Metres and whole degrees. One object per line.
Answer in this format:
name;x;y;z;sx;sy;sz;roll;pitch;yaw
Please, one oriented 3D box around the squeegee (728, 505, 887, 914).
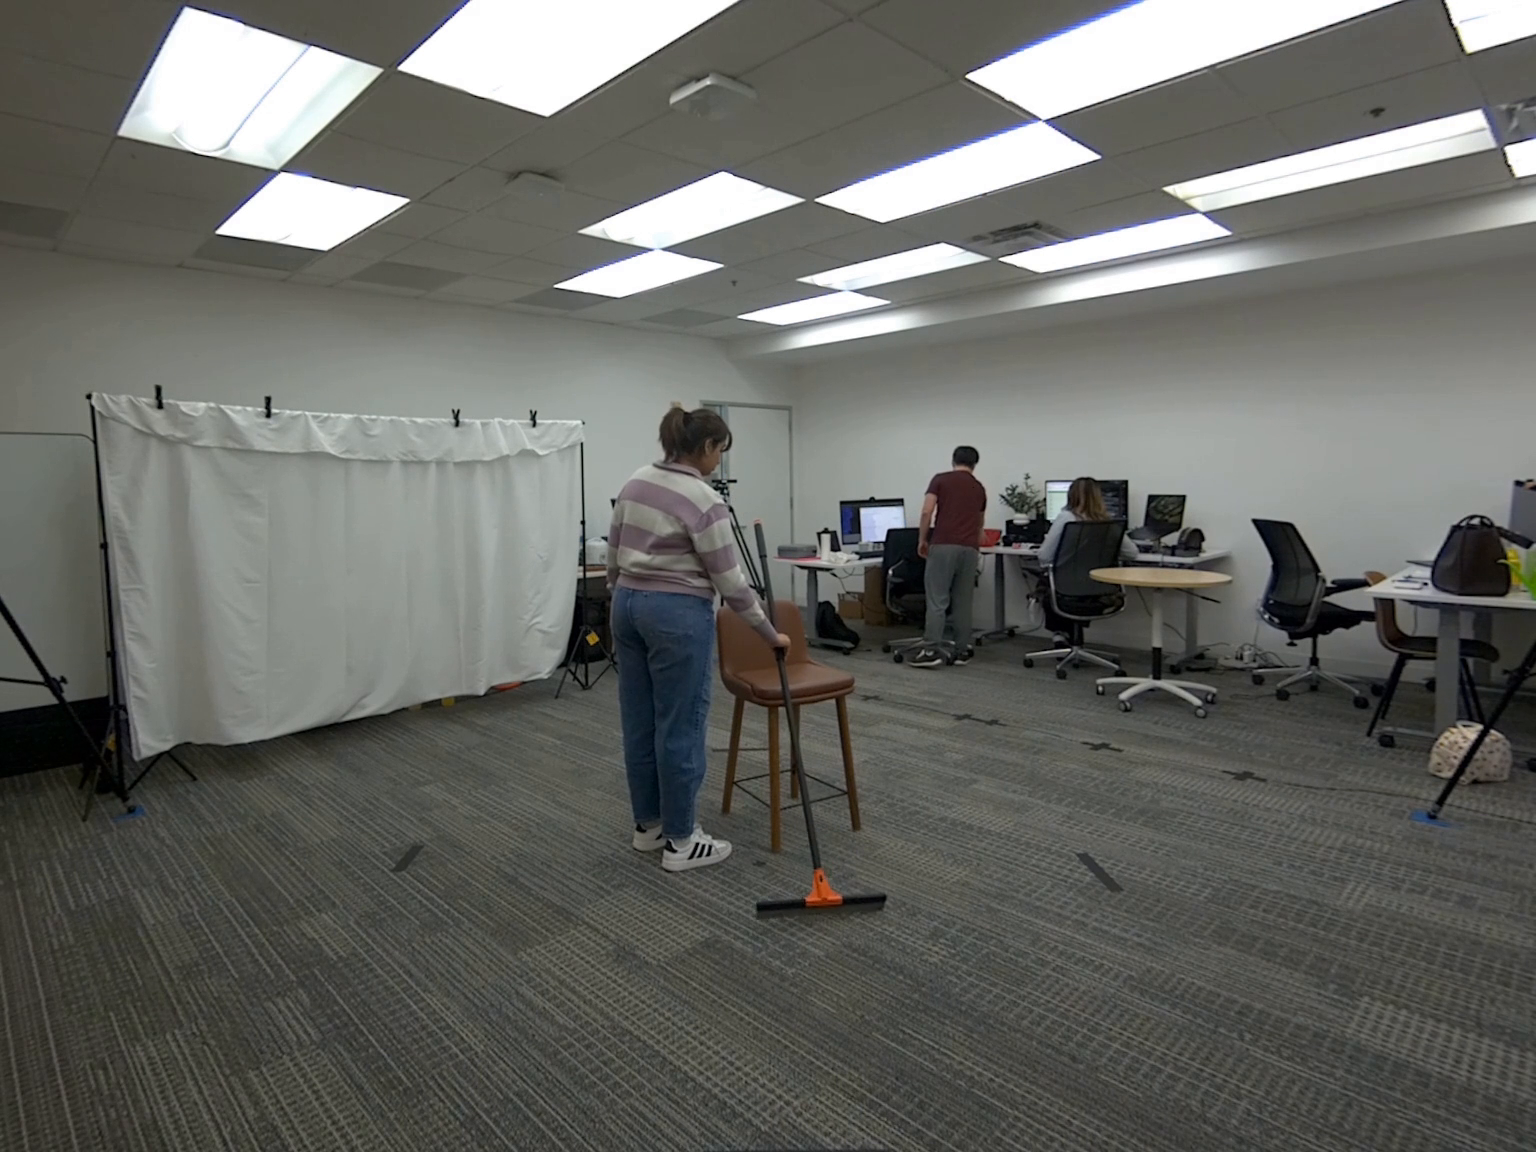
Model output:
squeegee;0.076;0.387;3.147;0.429;1.582;0.052;4;-36;-18
